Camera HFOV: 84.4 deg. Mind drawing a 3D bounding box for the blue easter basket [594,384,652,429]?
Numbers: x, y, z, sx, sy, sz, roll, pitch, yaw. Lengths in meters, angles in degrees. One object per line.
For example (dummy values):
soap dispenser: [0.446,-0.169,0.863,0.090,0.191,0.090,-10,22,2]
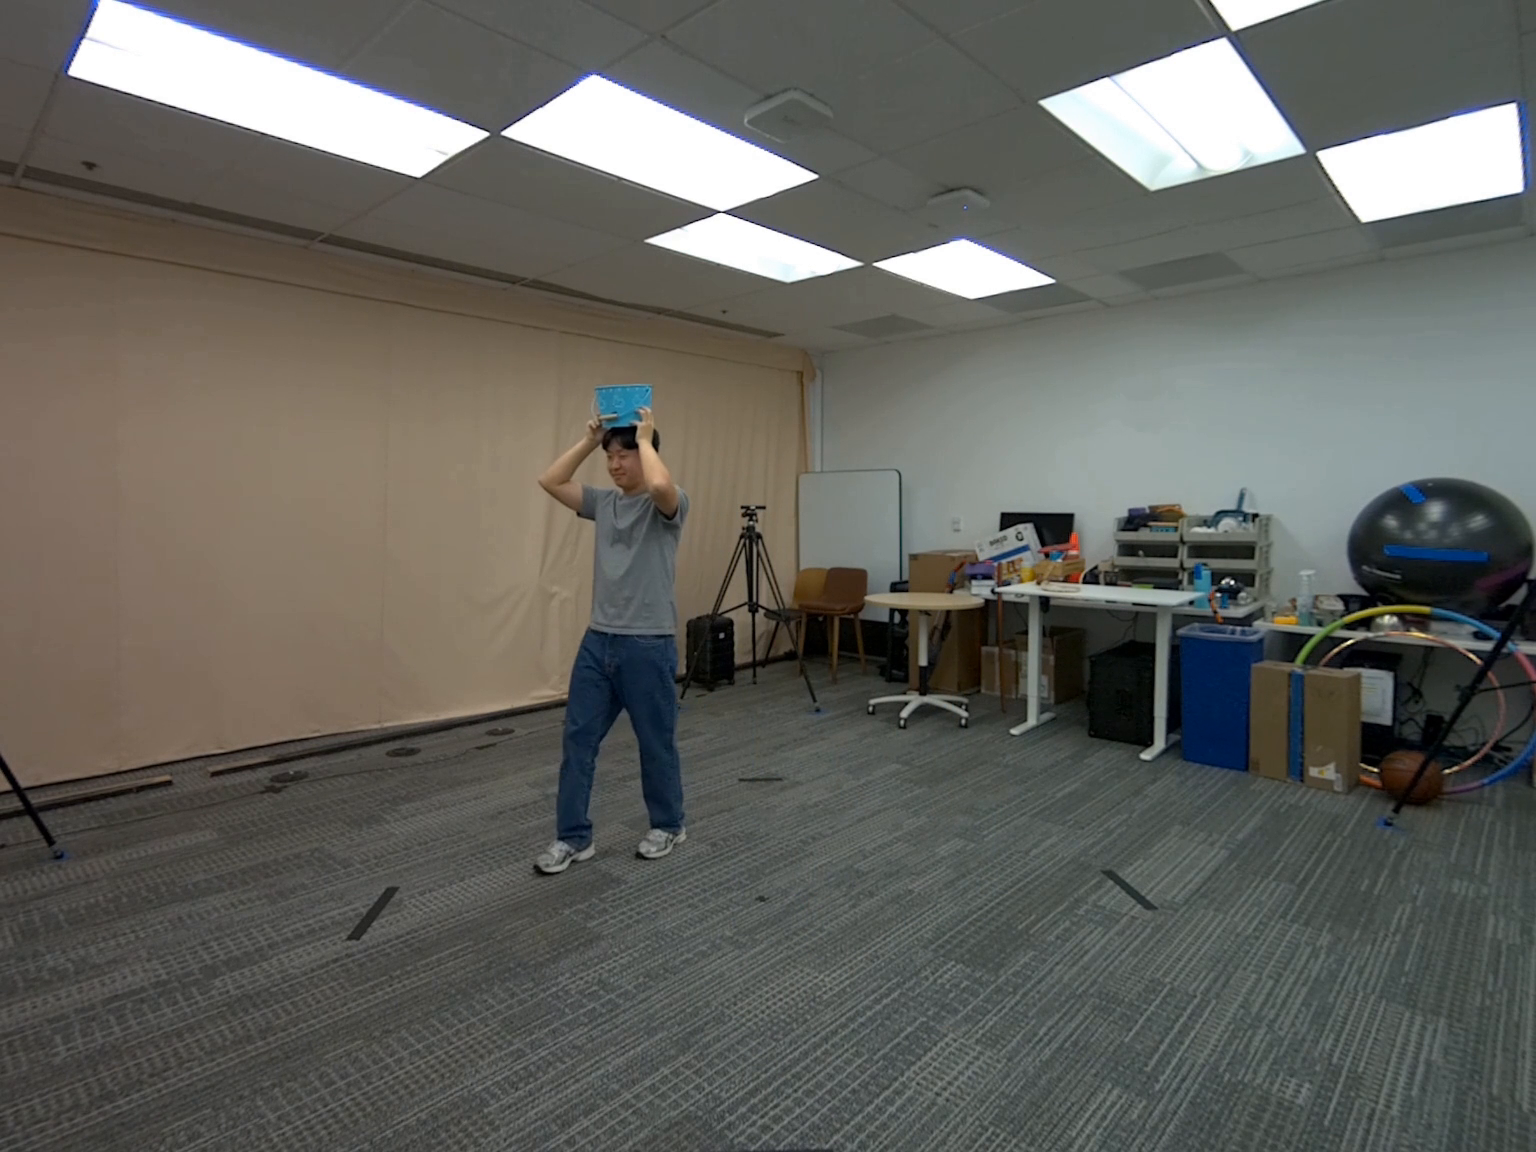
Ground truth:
blue easter basket: [-0.558,-0.659,3.277,0.243,0.155,0.245,-2,7,-2]
